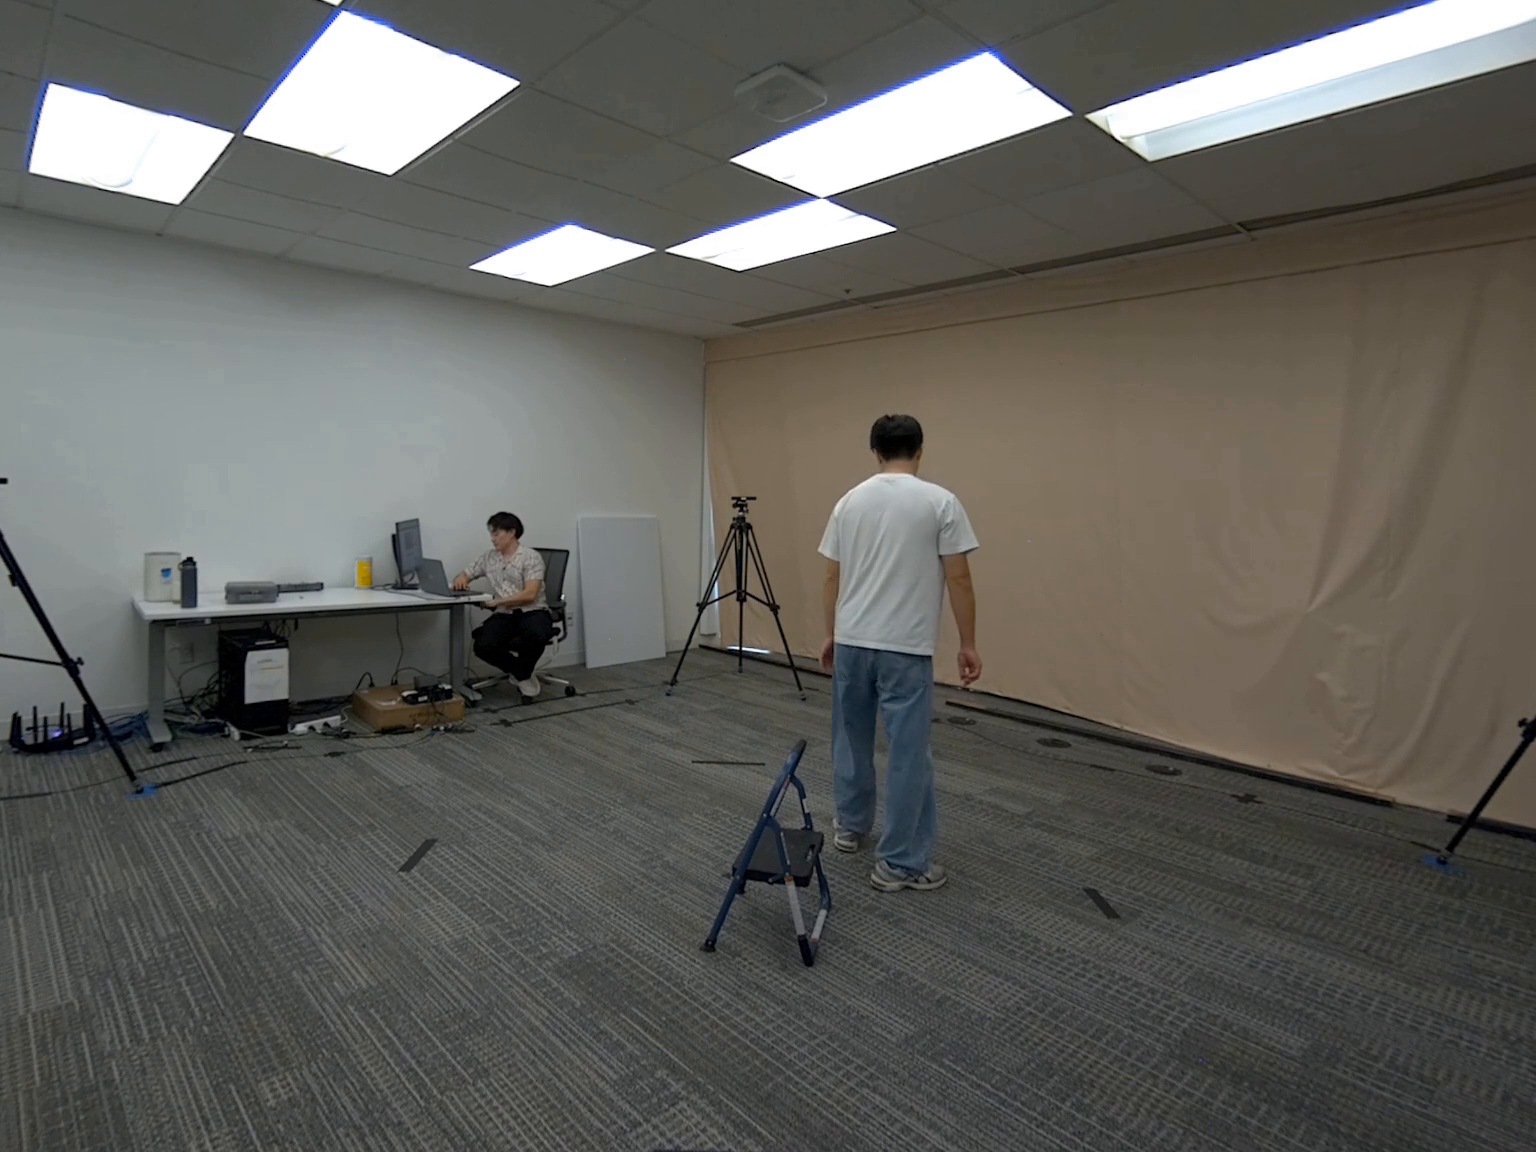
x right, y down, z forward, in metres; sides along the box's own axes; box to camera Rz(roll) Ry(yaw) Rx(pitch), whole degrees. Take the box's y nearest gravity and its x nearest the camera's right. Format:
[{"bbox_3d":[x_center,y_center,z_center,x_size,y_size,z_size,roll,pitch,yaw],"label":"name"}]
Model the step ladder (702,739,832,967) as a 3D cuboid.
[{"bbox_3d":[0.014,0.841,2.723,0.353,0.604,0.427,2,4,12],"label":"step ladder"}]
